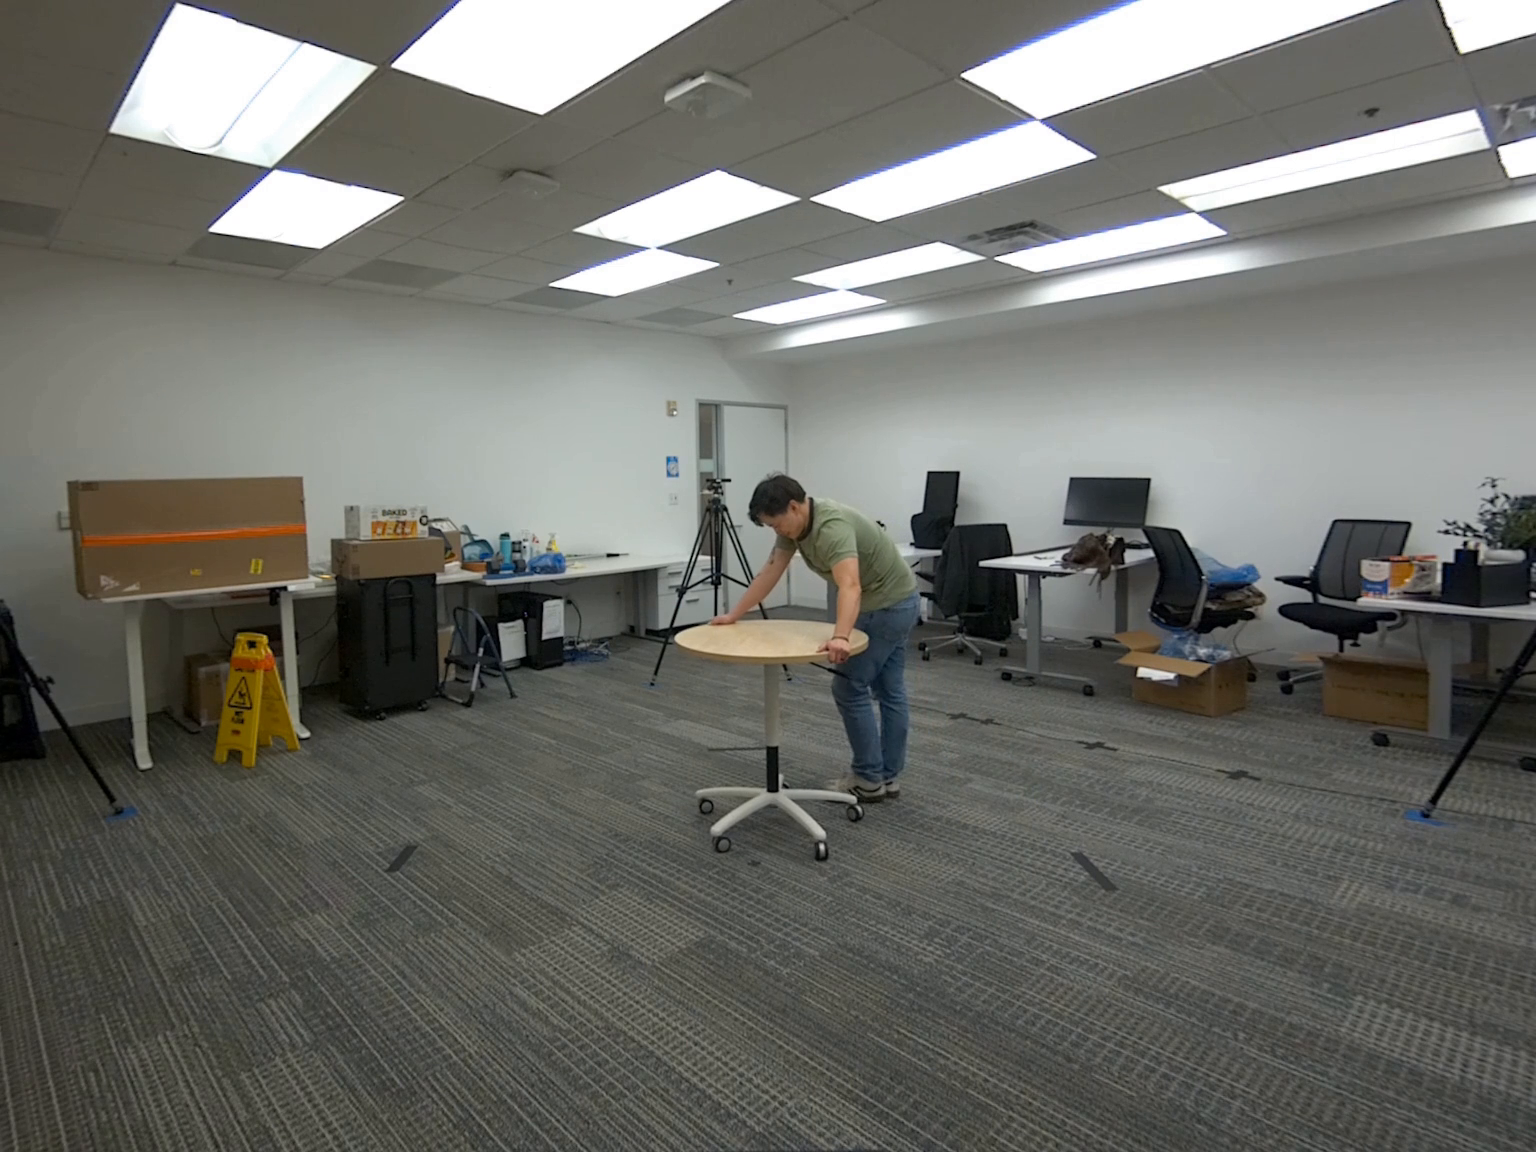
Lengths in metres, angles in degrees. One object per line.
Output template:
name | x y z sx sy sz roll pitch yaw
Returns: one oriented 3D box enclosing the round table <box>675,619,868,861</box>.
round table | 0.017 0.624 3.421 0.763 0.791 0.768 -1 5 -2
